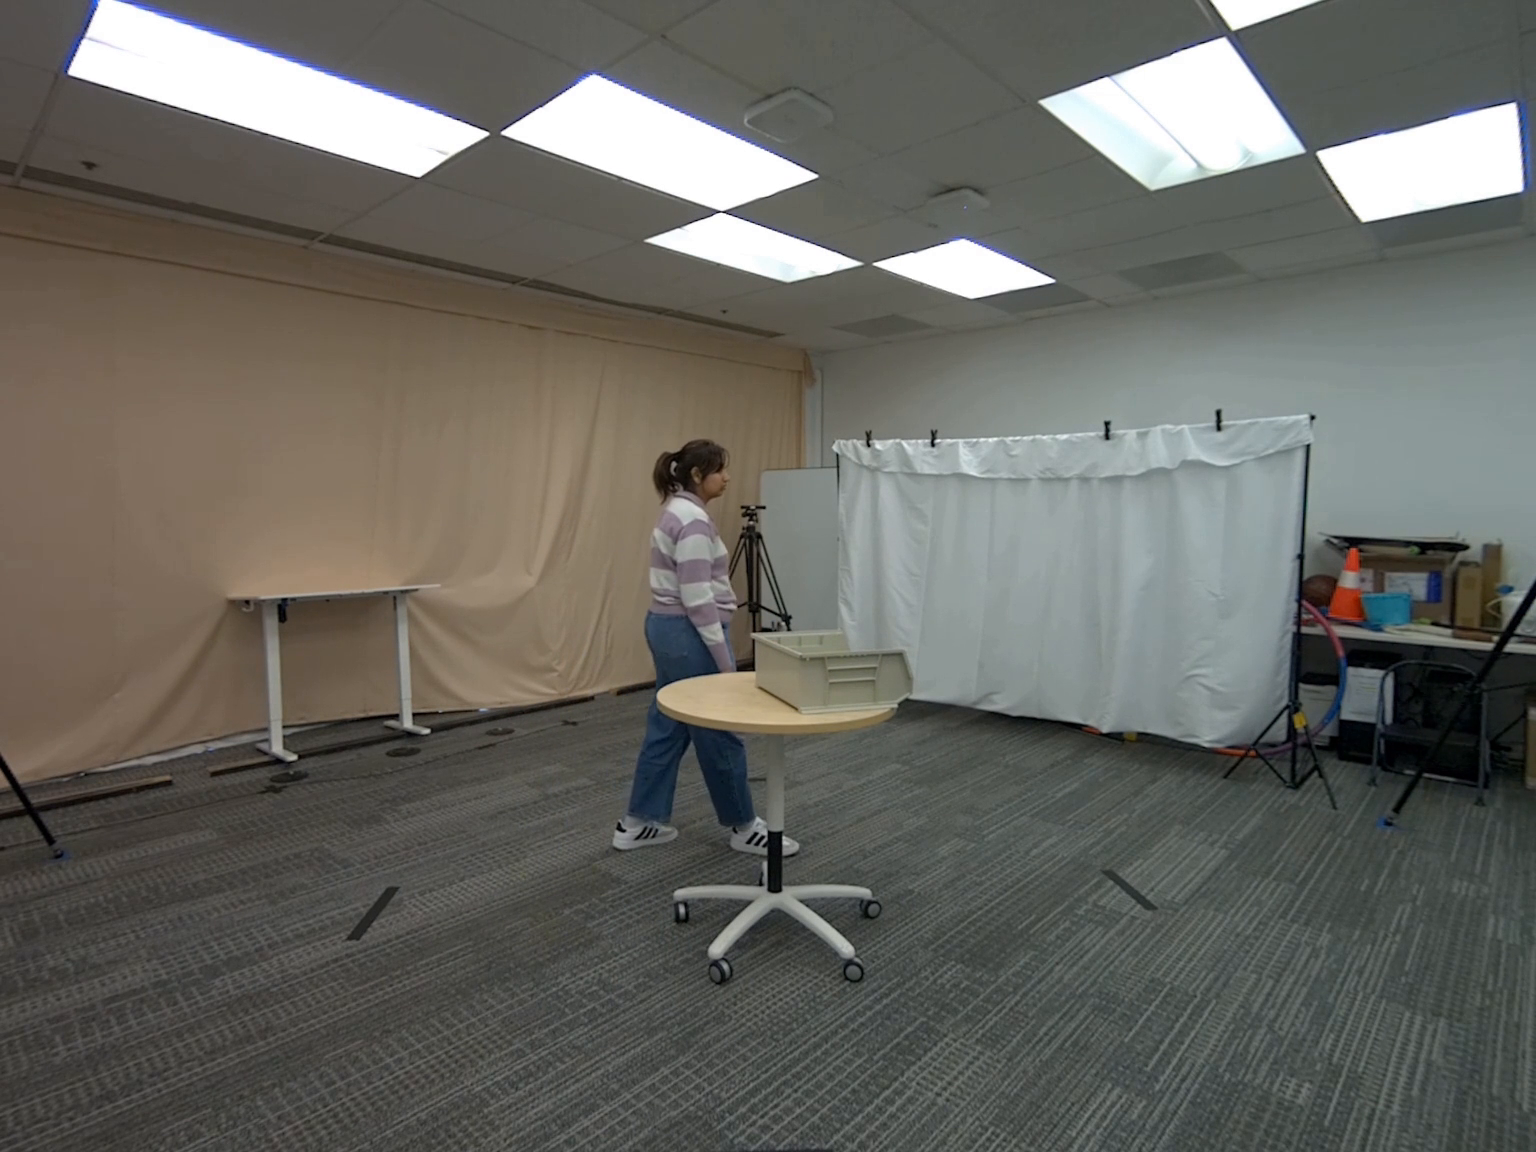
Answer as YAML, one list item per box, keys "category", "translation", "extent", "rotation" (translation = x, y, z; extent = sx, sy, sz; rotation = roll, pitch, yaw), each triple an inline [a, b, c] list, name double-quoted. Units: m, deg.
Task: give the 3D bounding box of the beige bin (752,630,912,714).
- category: "beige bin"
  translation: [0.199, 0.300, 2.685]
  extent: [0.371, 0.188, 0.431]
  rotation: [-2, 5, -18]
